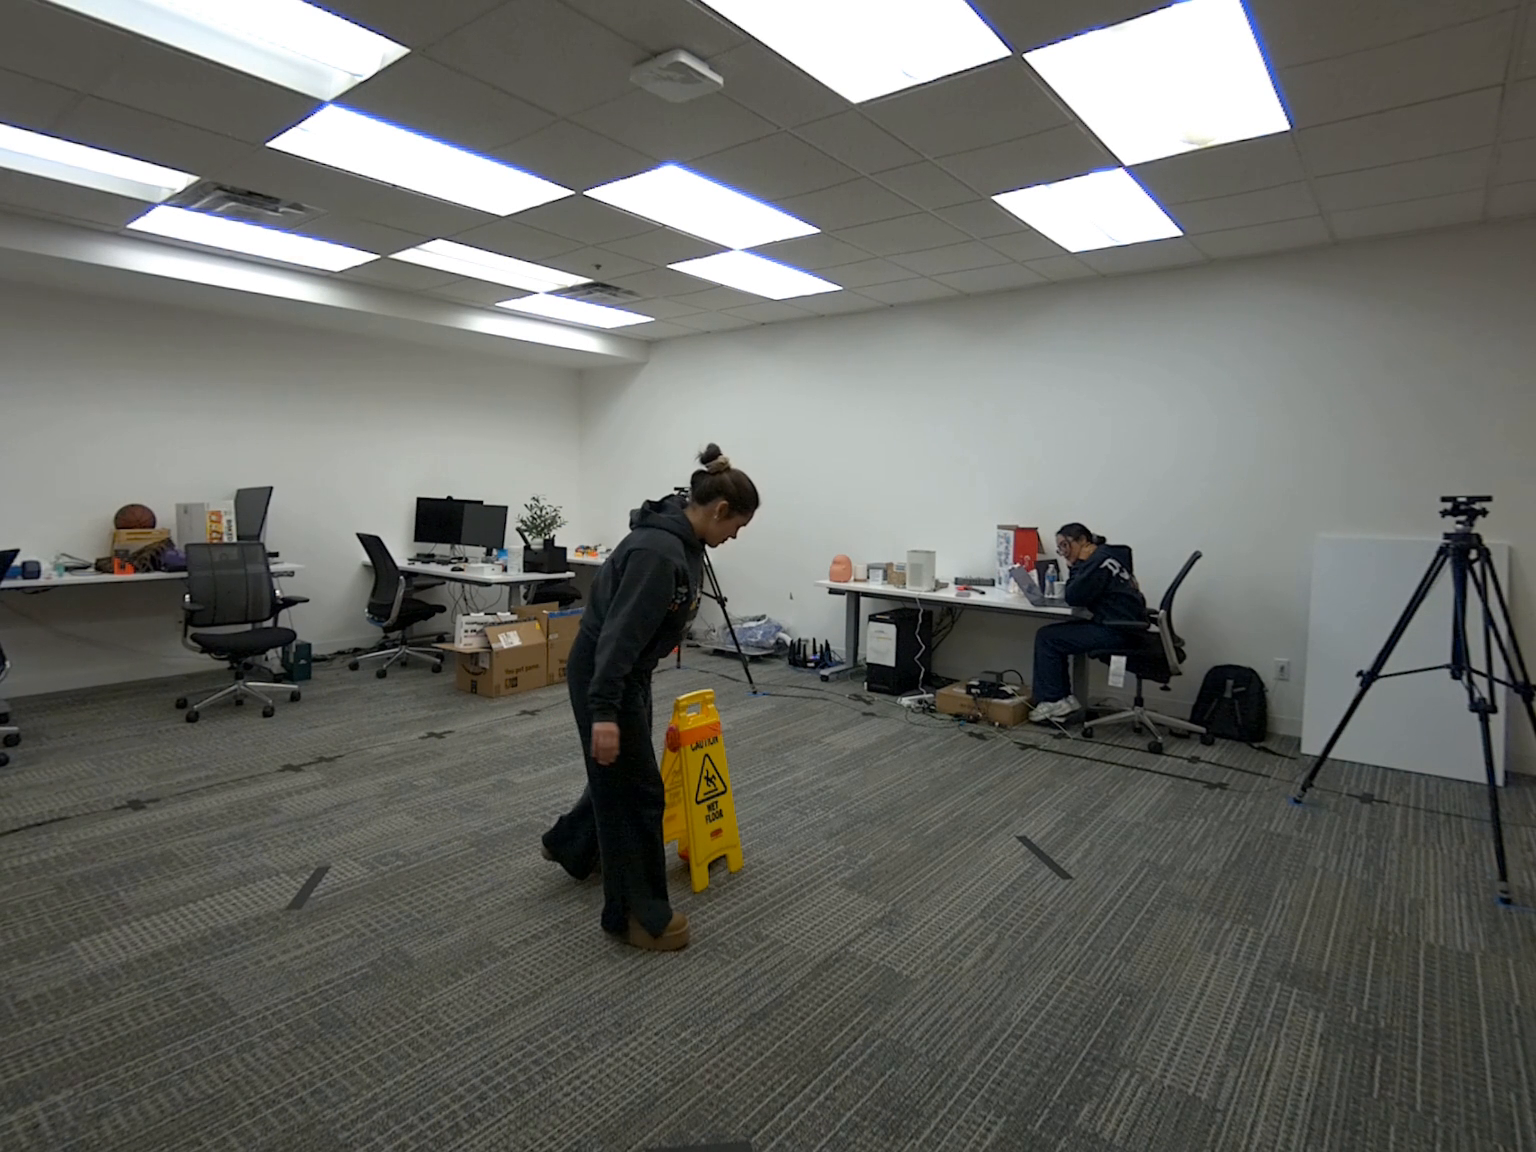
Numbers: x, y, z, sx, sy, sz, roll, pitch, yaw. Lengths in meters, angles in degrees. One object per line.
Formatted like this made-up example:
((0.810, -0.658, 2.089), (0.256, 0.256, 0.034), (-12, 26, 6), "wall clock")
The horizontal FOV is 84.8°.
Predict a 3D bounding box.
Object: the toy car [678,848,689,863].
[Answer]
((-0.217, 1.030, 3.171), (0.134, 0.083, 0.245), (5, -3, 35), "toy car")
